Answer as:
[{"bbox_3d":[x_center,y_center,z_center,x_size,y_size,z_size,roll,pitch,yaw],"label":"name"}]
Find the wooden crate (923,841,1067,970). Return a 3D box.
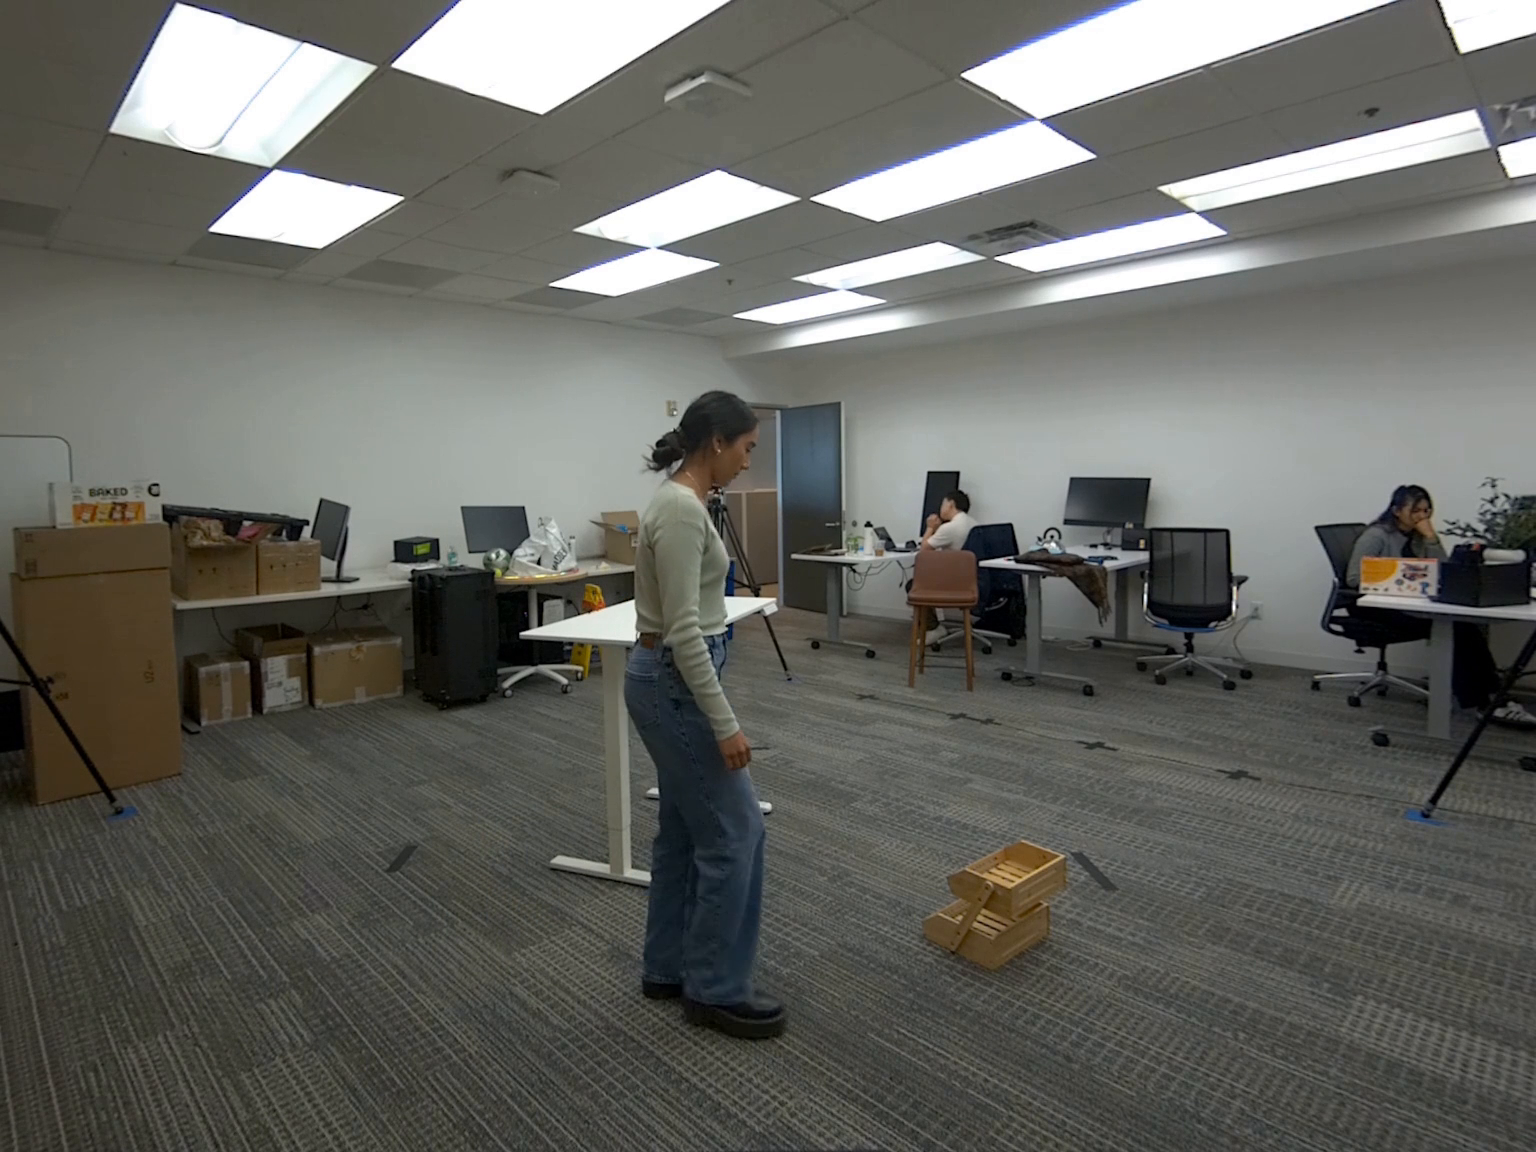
[{"bbox_3d":[0.681,0.958,2.565,0.316,0.272,0.311,-6,8,-42],"label":"wooden crate"}]
